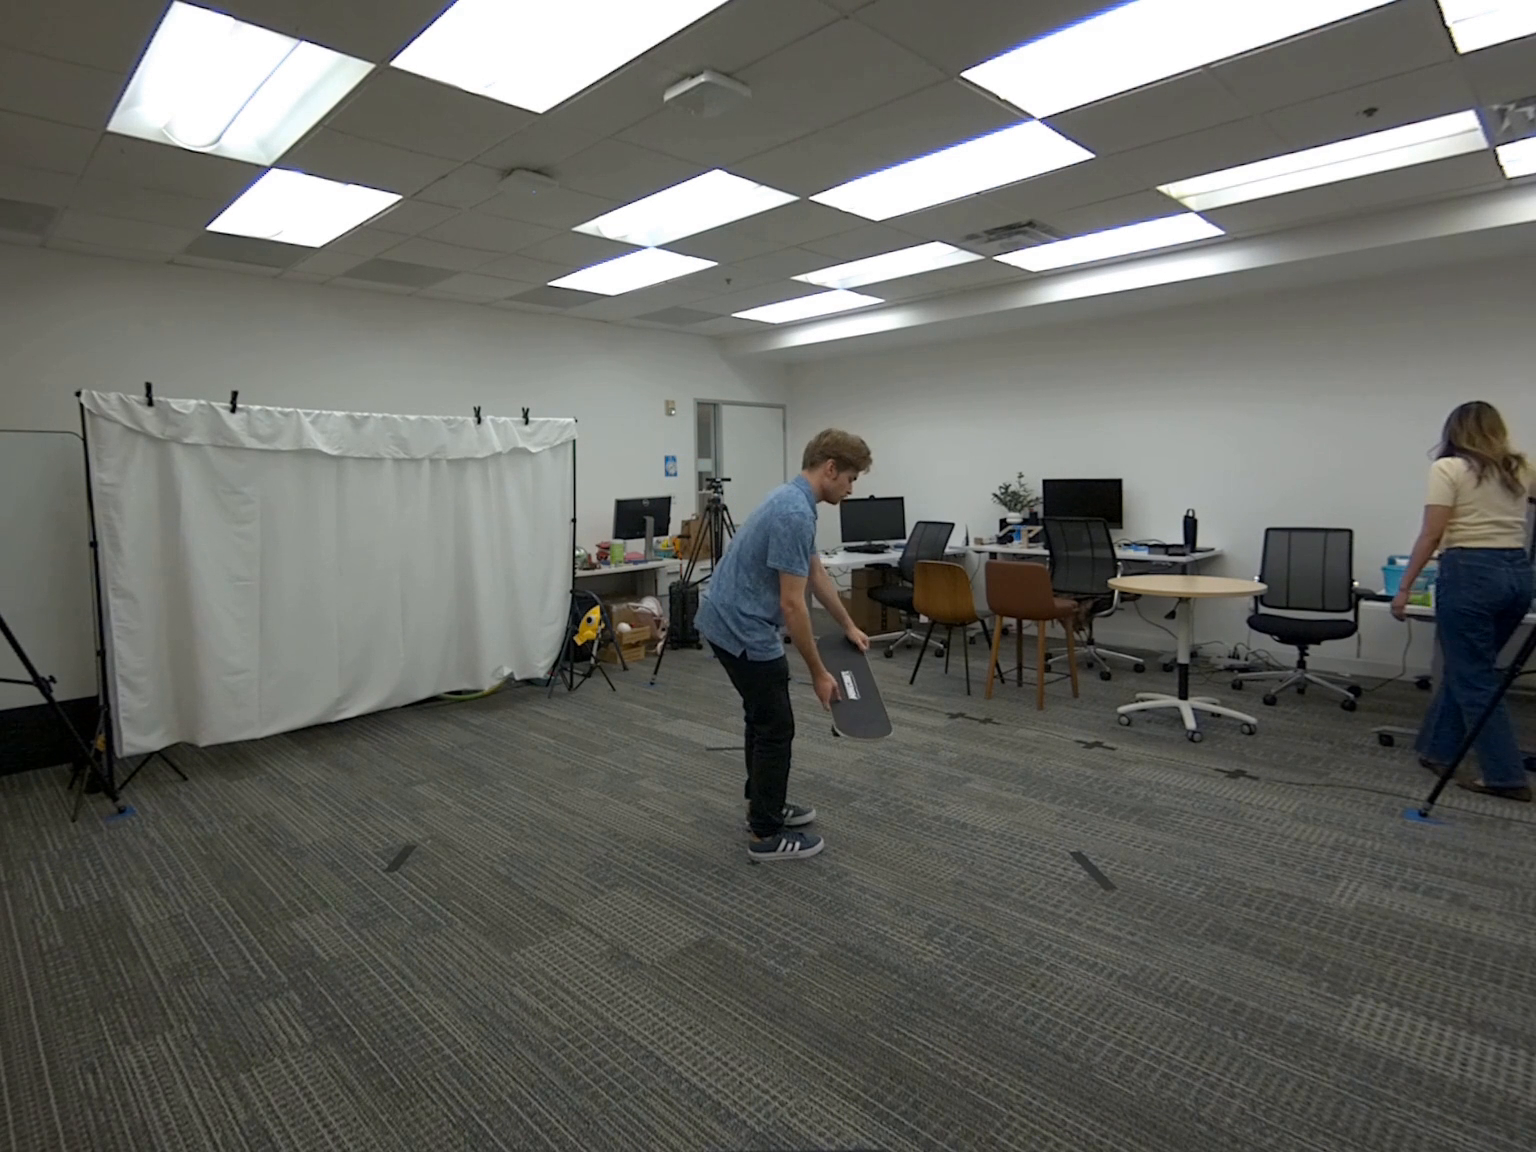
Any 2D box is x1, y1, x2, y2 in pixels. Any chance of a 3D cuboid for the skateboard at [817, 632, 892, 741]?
[{"bbox_3d":[0.303,0.431,3.123,0.193,0.108,0.801,-2,21,-3],"label":"skateboard"}]
